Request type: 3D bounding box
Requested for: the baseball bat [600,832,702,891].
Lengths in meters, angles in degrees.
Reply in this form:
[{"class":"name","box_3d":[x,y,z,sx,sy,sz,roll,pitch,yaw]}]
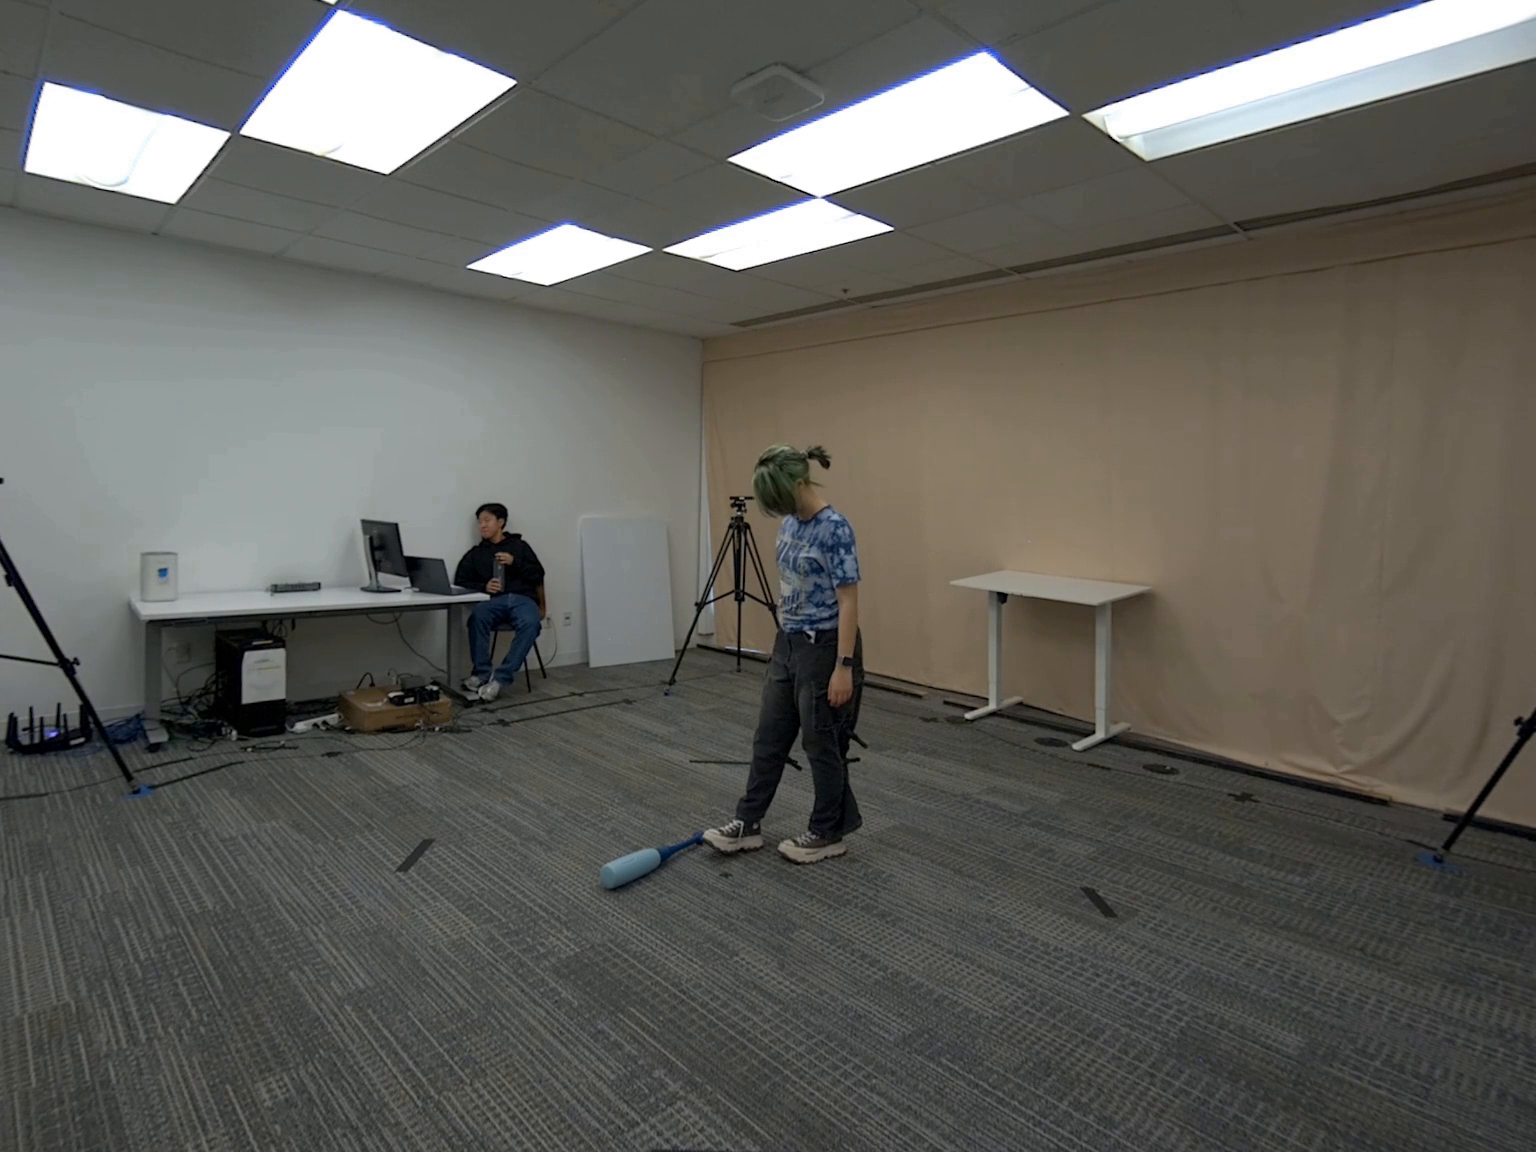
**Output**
[{"class":"baseball bat","box_3d":[-0.425,1.056,3.165,0.091,0.089,0.531,4,3,33]}]
